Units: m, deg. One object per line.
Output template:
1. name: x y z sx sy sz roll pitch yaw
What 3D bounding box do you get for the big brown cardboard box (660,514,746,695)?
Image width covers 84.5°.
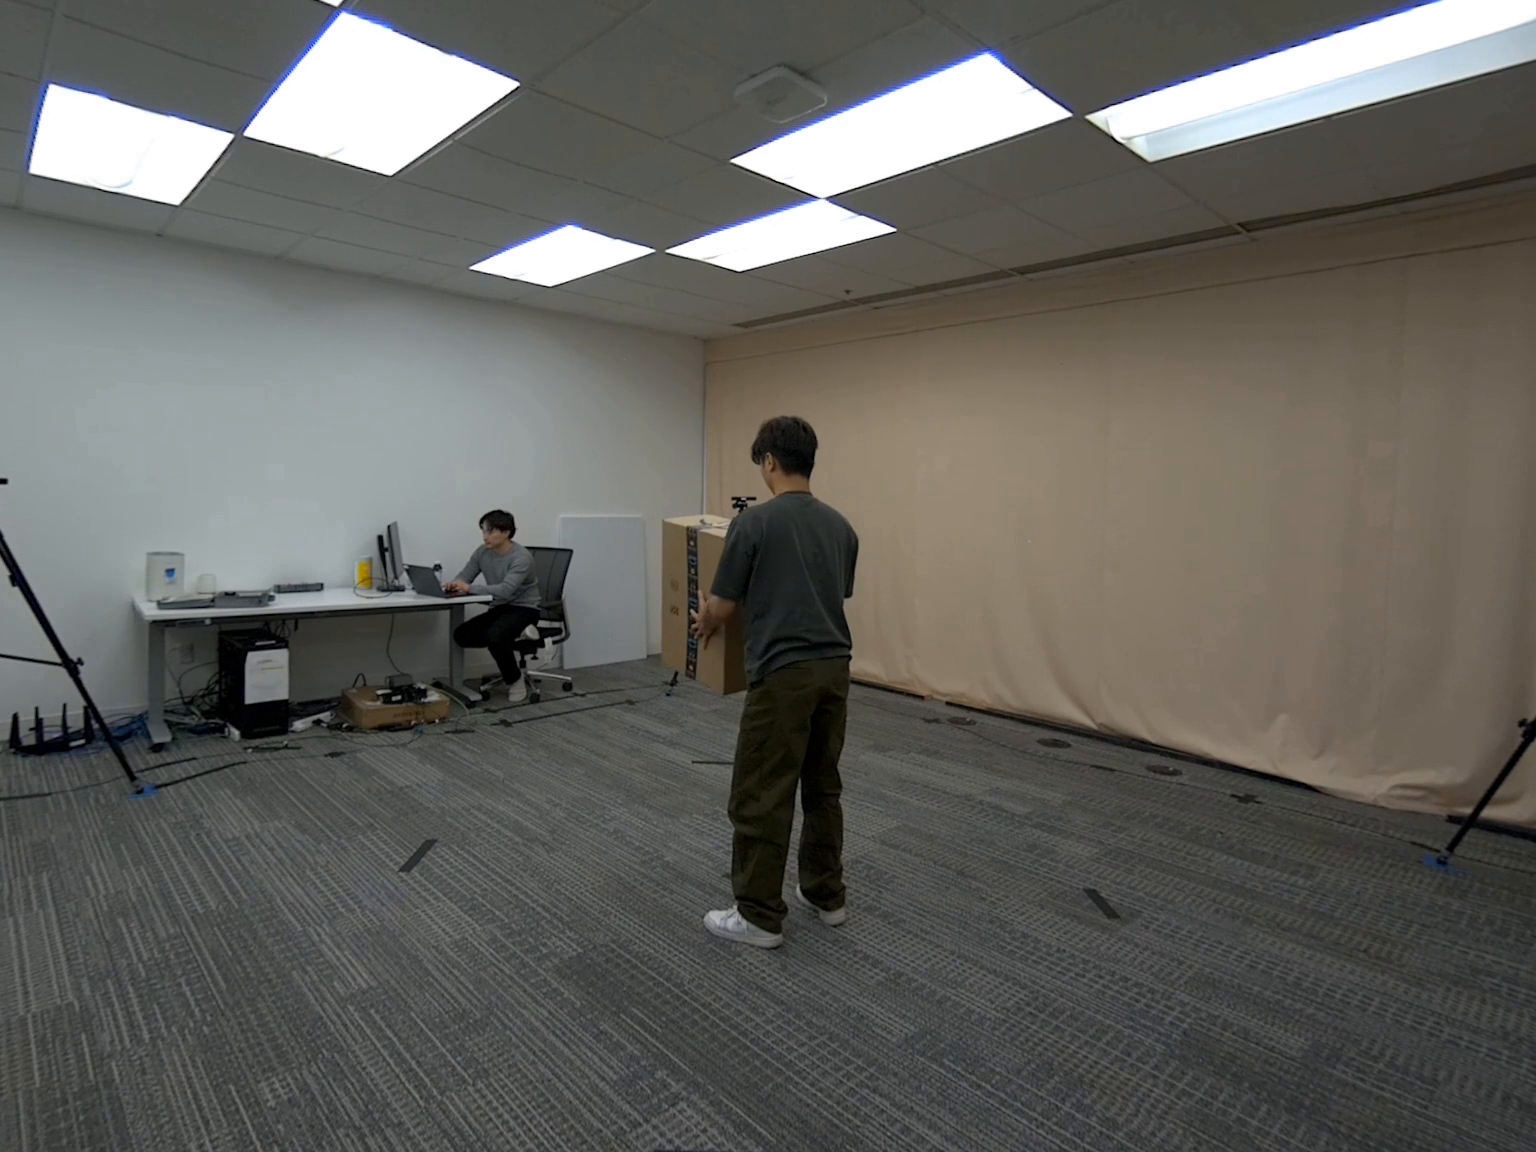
1. big brown cardboard box: -0.198 0.089 3.083 0.228 0.584 0.429 -6 14 -37
